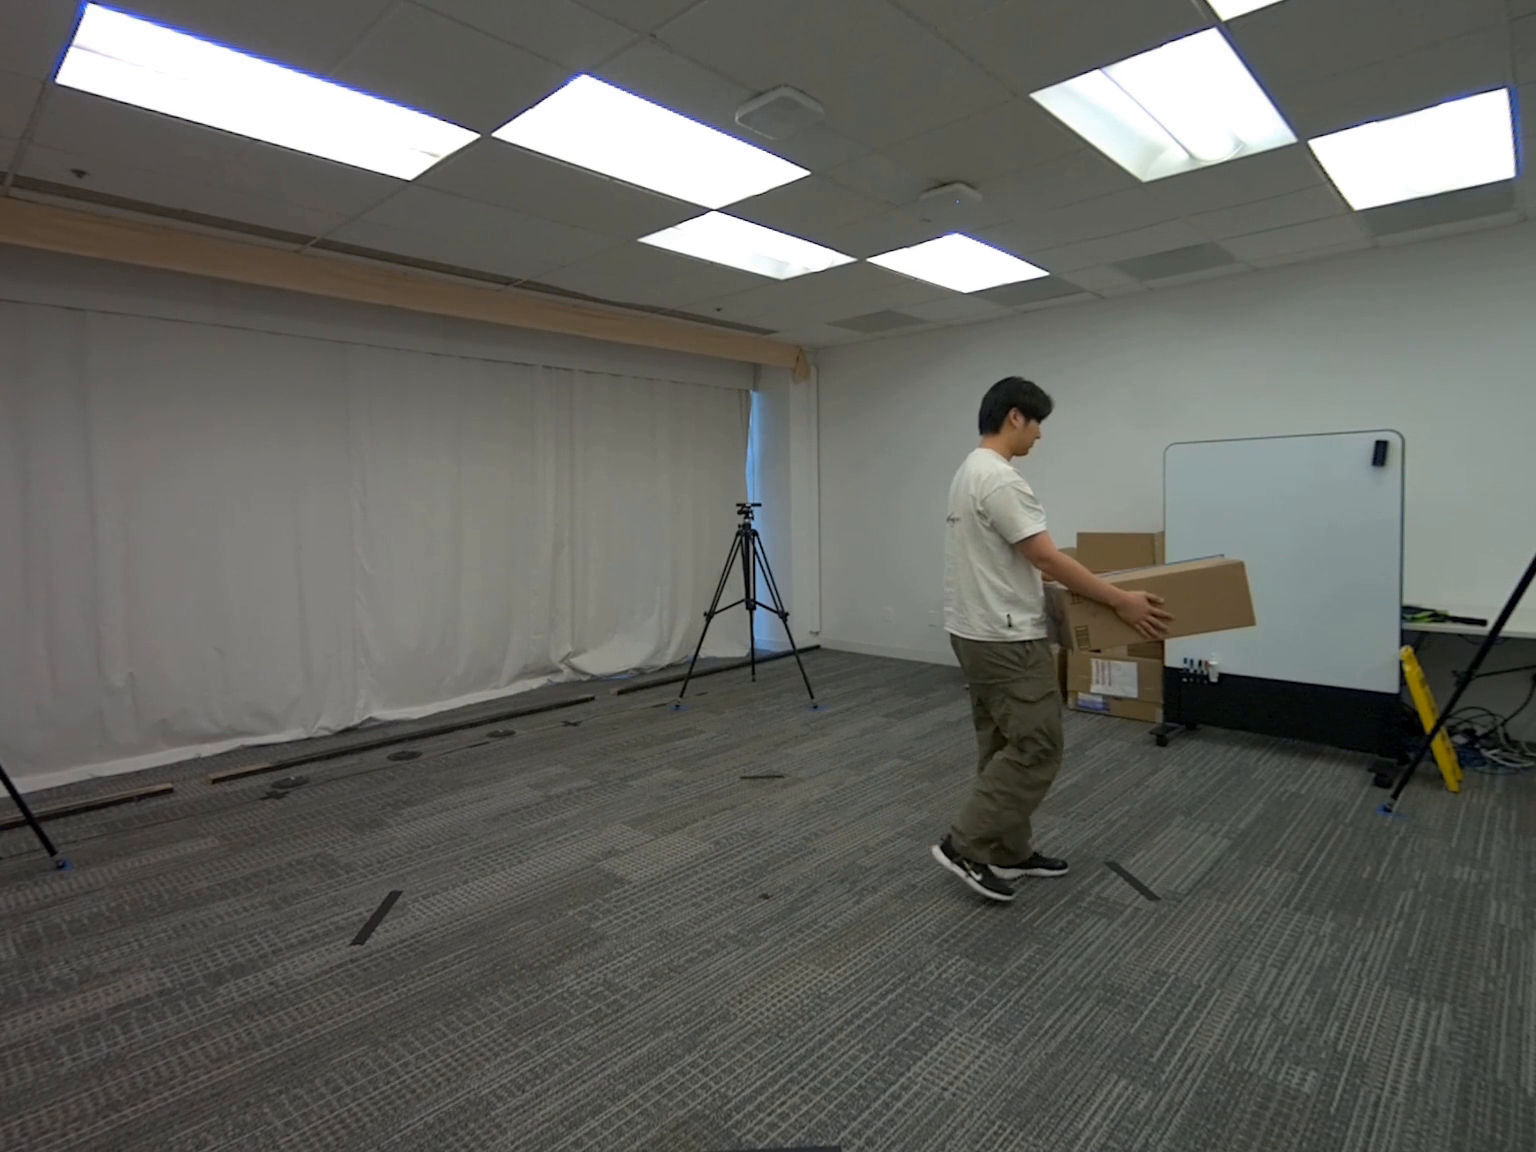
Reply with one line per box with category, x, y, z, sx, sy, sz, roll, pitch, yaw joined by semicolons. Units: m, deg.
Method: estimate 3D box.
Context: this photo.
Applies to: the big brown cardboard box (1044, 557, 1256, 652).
big brown cardboard box;1.310;0.097;2.958;0.593;0.233;0.414;-11;0;7
